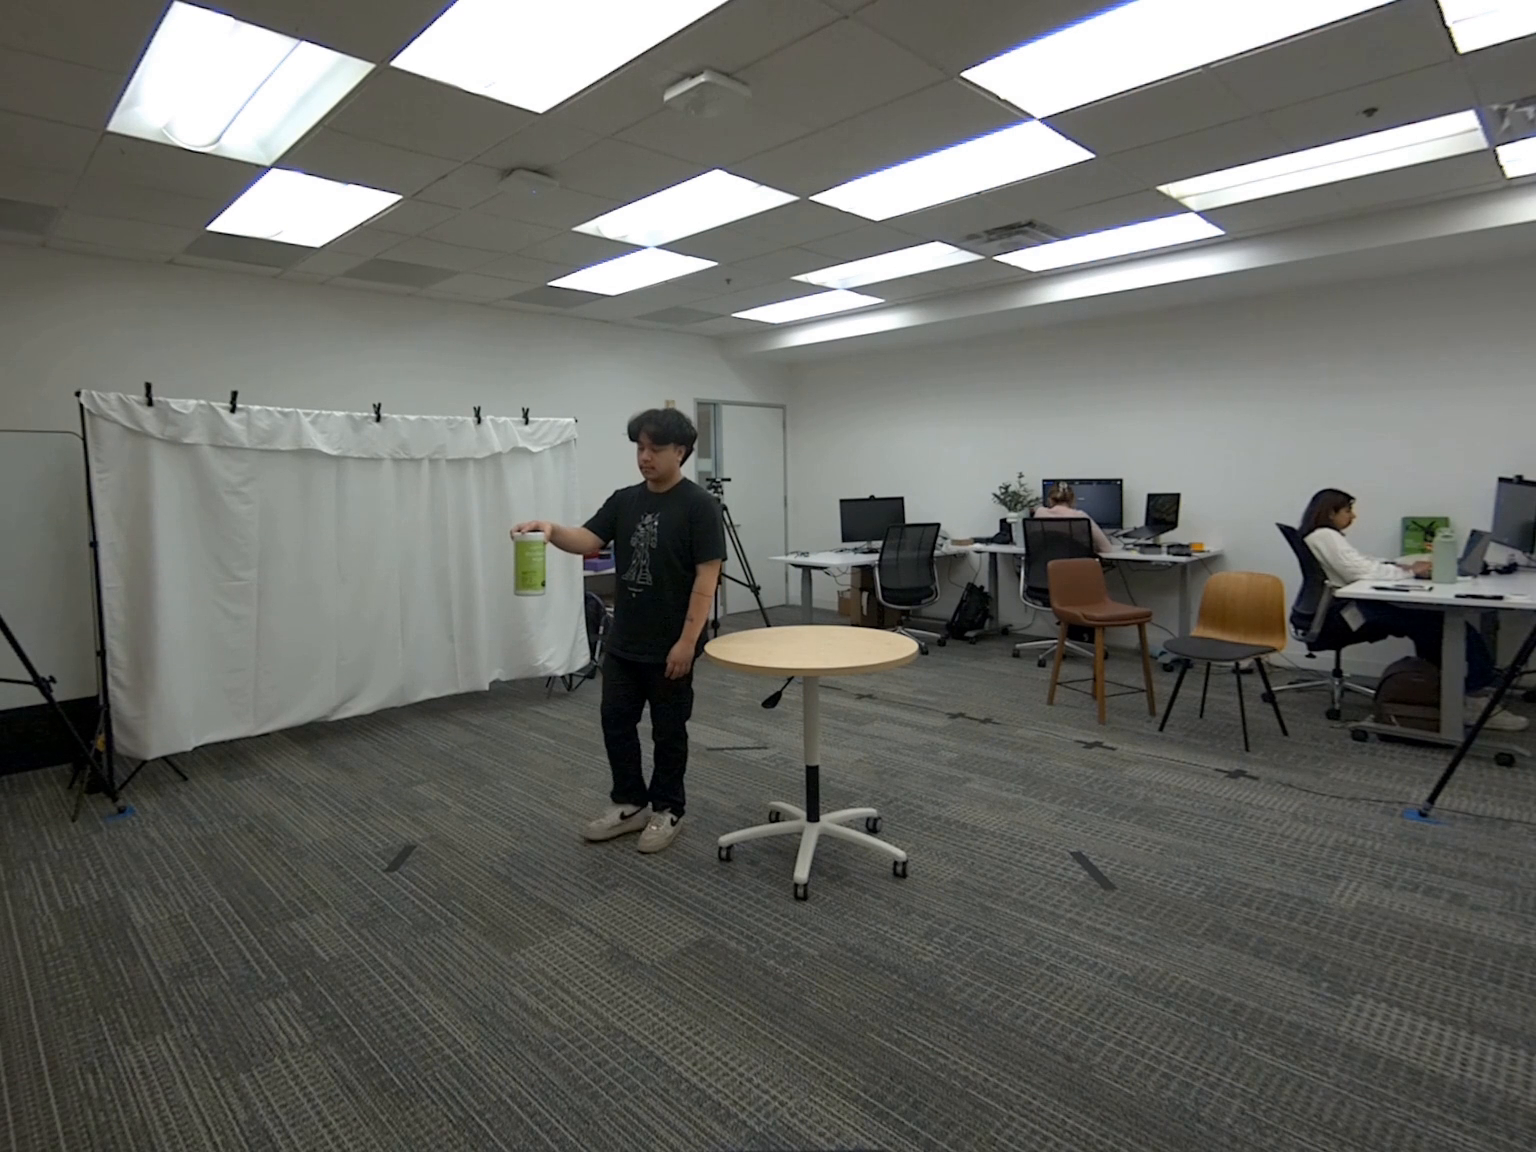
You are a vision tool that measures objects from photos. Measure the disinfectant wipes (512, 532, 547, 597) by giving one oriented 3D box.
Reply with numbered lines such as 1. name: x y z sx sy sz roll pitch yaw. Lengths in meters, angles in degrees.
1. disinfectant wipes: -0.822 -0.042 2.917 0.118 0.217 0.118 1 4 -2
